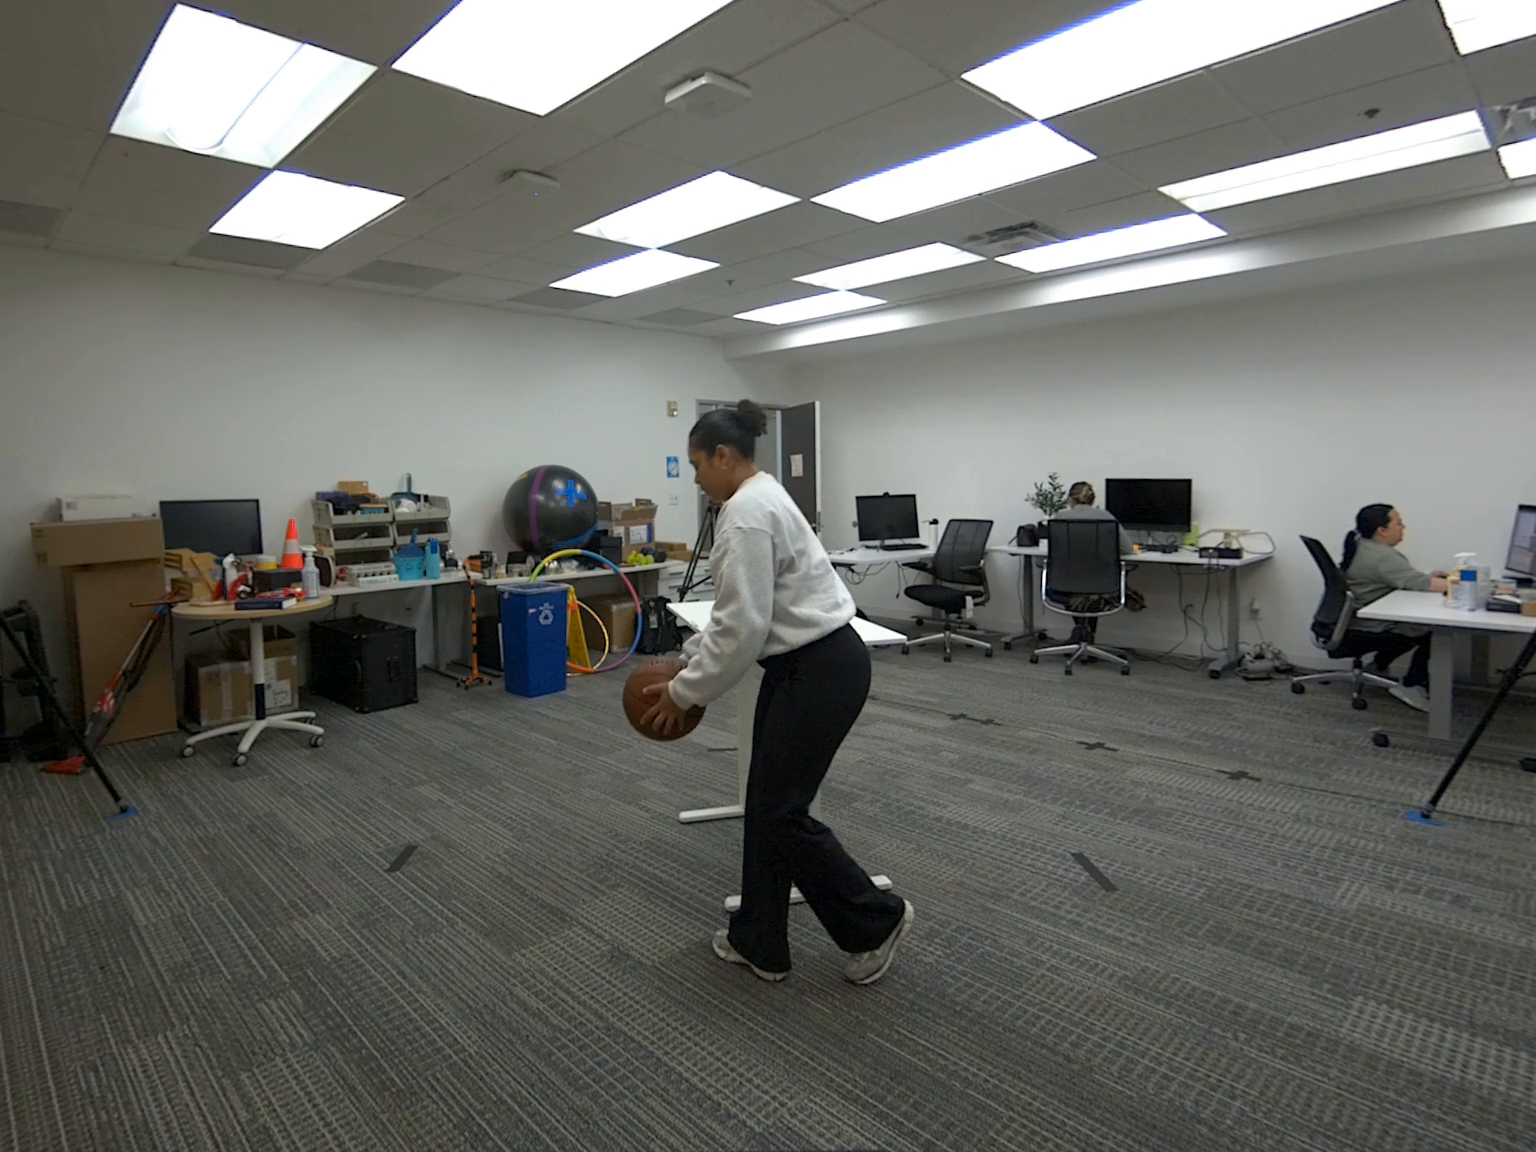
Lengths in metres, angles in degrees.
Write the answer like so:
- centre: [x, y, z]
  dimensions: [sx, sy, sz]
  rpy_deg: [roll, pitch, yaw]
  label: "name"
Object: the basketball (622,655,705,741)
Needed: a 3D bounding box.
- centre: [-0.281, 0.341, 2.411]
  dimensions: [0.236, 0.235, 0.237]
  rpy_deg: [-1, 5, -2]
  label: "basketball"
